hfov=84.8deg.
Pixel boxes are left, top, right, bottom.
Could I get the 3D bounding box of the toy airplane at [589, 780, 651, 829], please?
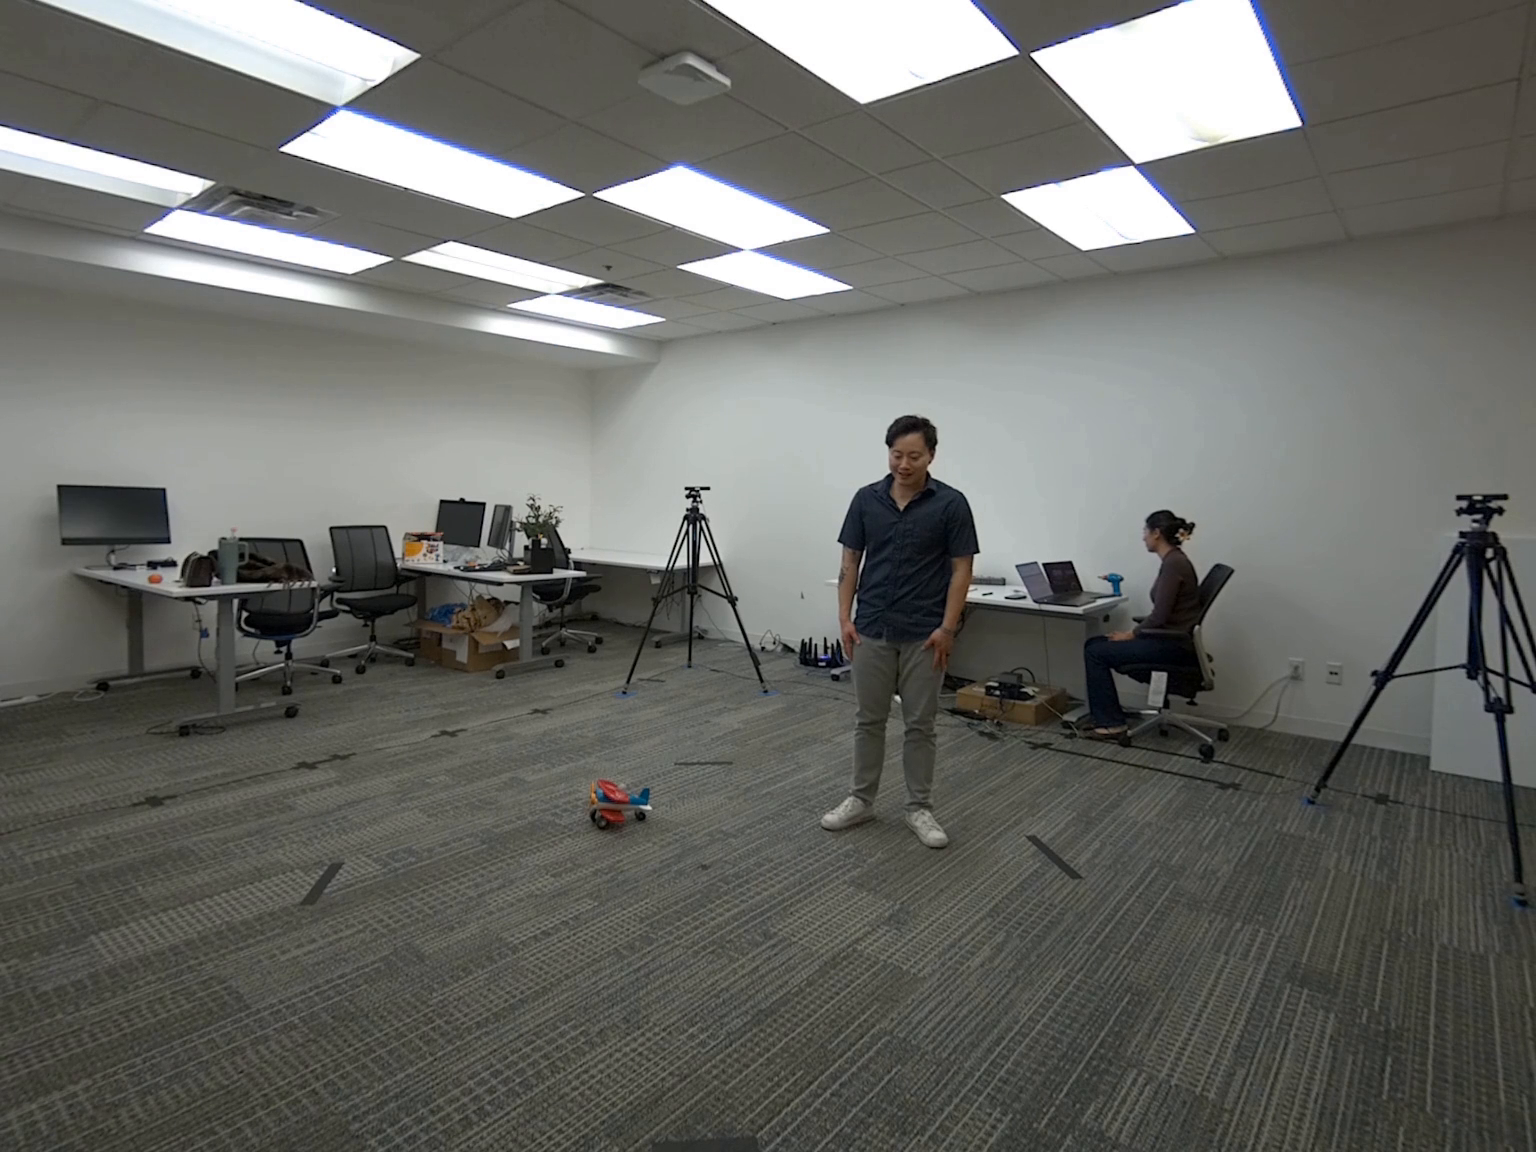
[{"bbox_3d":[-0.636,0.942,3.544,0.259,0.155,0.252,4,8,36],"label":"toy airplane"}]
